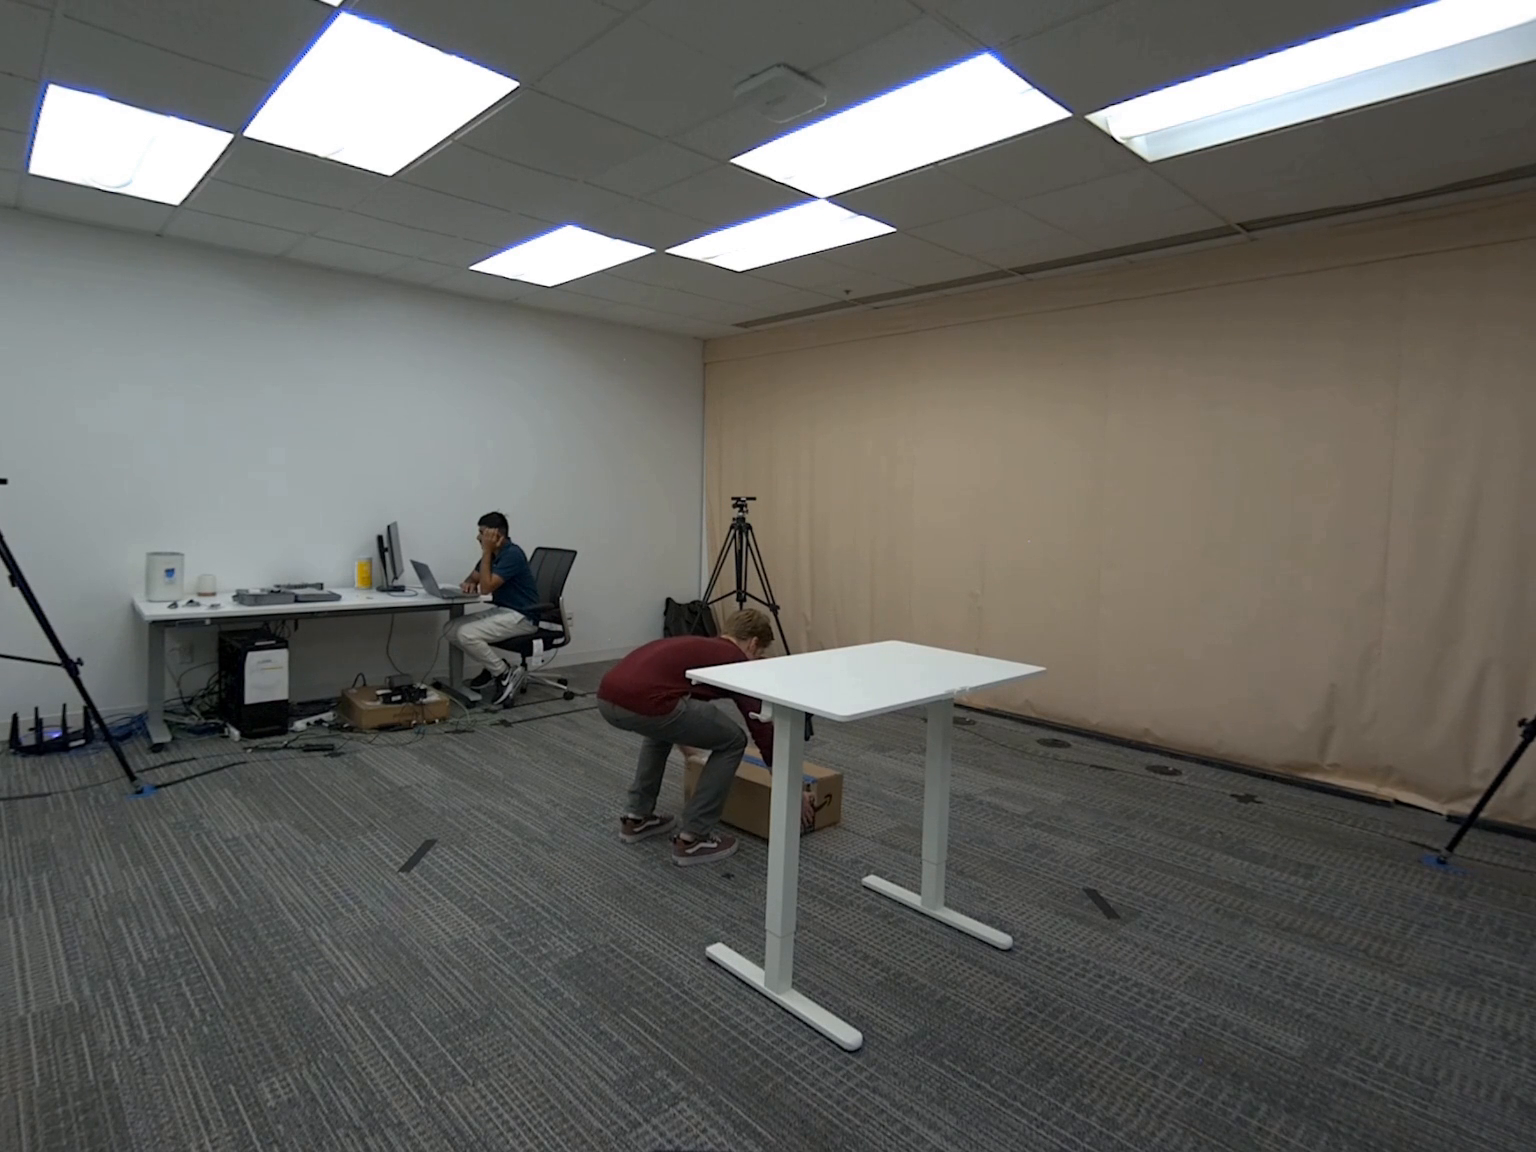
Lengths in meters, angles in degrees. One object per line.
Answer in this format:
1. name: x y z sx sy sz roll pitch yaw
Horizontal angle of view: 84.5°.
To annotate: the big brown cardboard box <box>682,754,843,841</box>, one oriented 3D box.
1. big brown cardboard box: -0.037 0.933 3.709 0.604 0.233 0.408 7 5 43
